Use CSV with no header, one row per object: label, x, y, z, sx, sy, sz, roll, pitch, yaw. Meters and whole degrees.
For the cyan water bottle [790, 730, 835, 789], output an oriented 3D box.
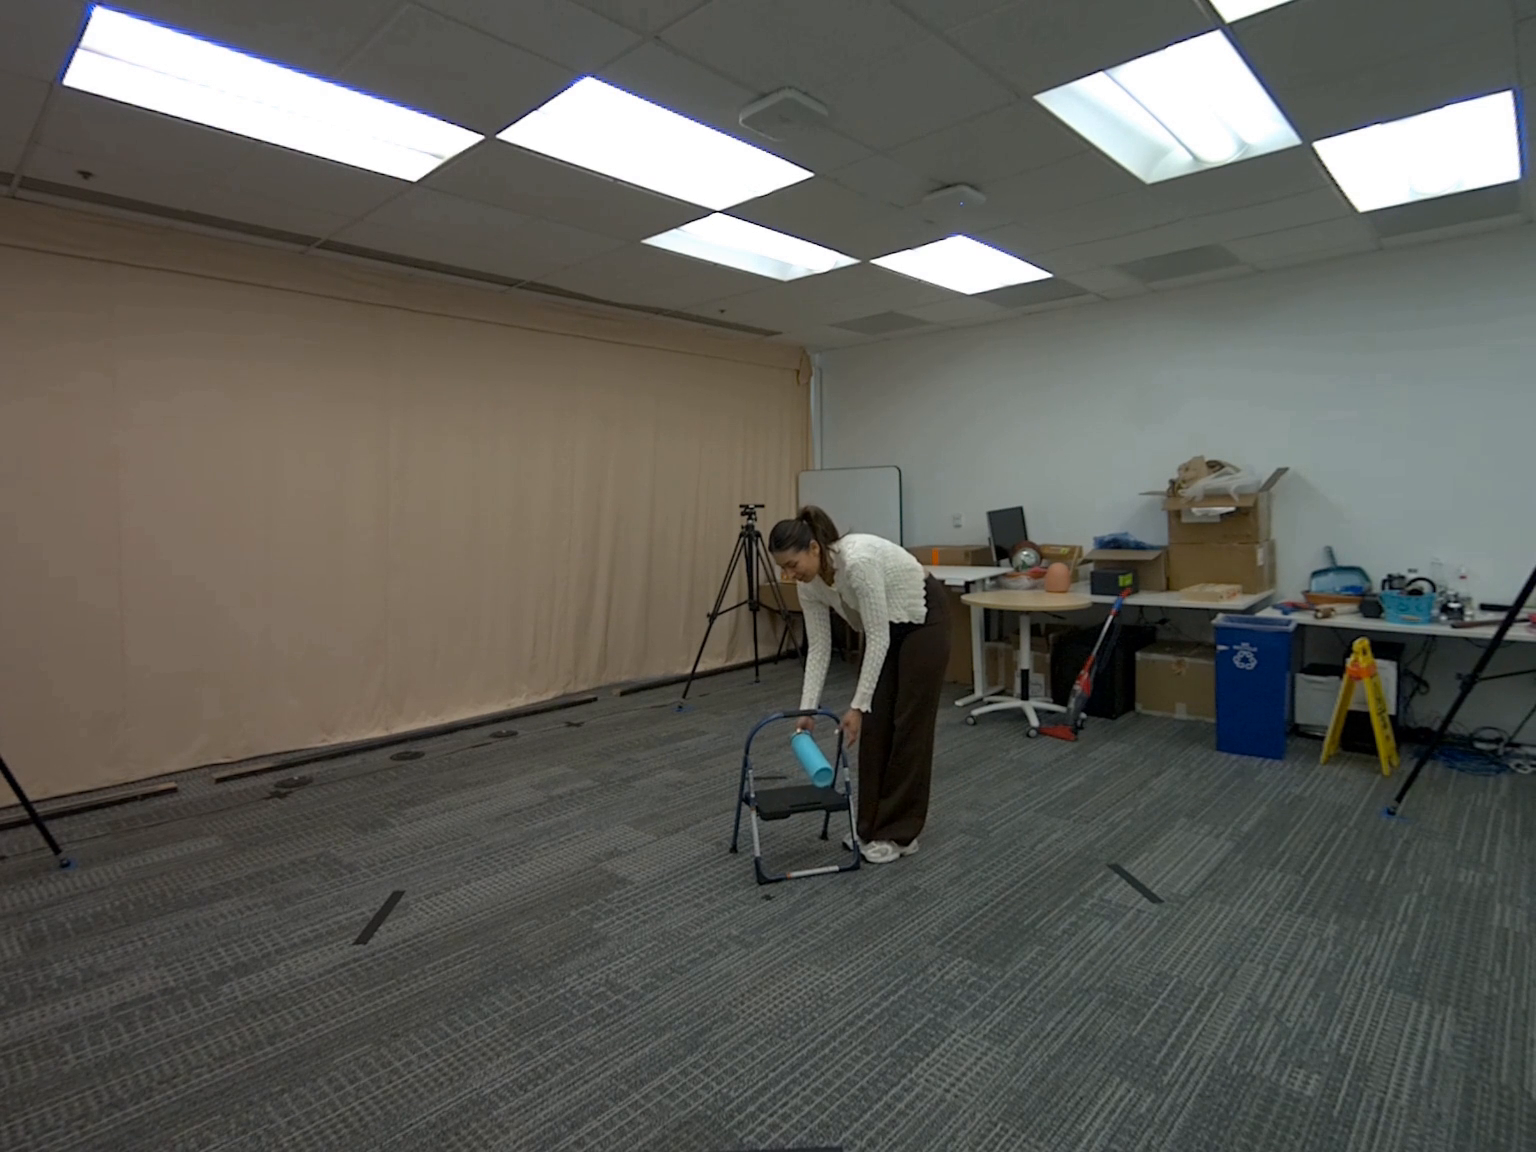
cyan water bottle,0.165,0.660,3.143,0.091,0.091,0.290,-2,22,-15
